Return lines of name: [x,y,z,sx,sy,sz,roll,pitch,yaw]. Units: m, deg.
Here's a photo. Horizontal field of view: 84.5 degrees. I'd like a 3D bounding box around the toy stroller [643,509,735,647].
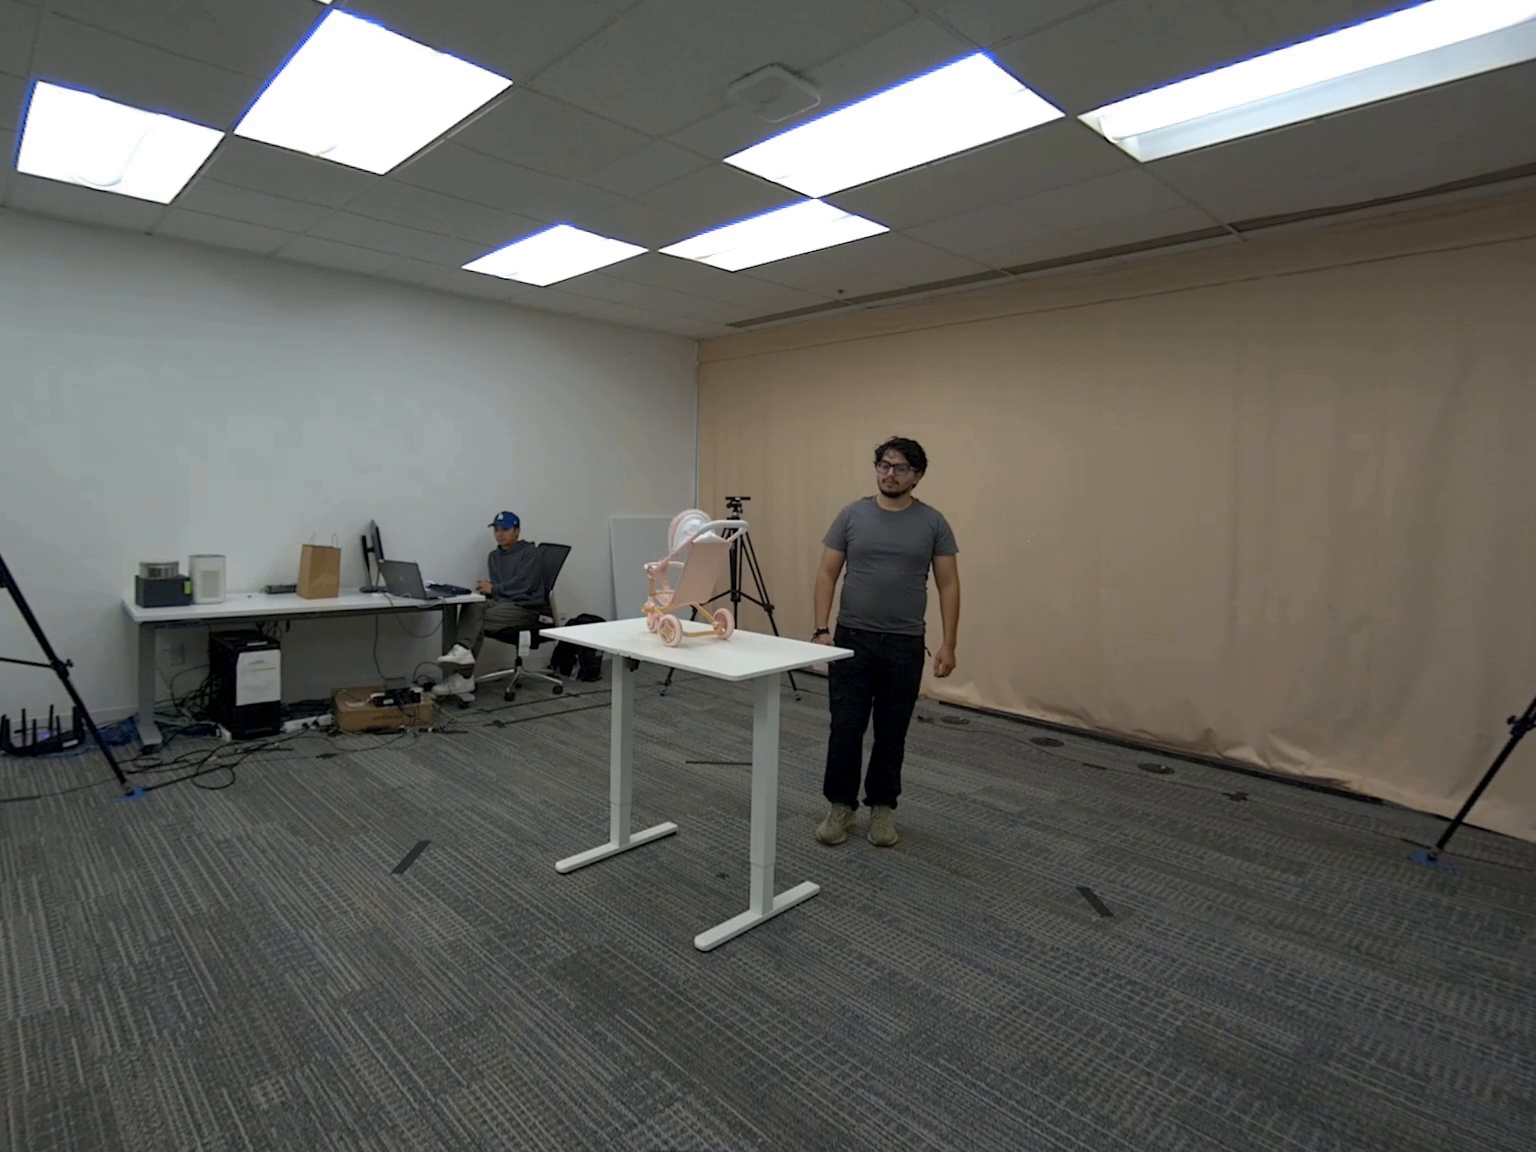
toy stroller: [-0.294,0.006,2.983,0.275,0.530,0.352,-1,21,-41]
